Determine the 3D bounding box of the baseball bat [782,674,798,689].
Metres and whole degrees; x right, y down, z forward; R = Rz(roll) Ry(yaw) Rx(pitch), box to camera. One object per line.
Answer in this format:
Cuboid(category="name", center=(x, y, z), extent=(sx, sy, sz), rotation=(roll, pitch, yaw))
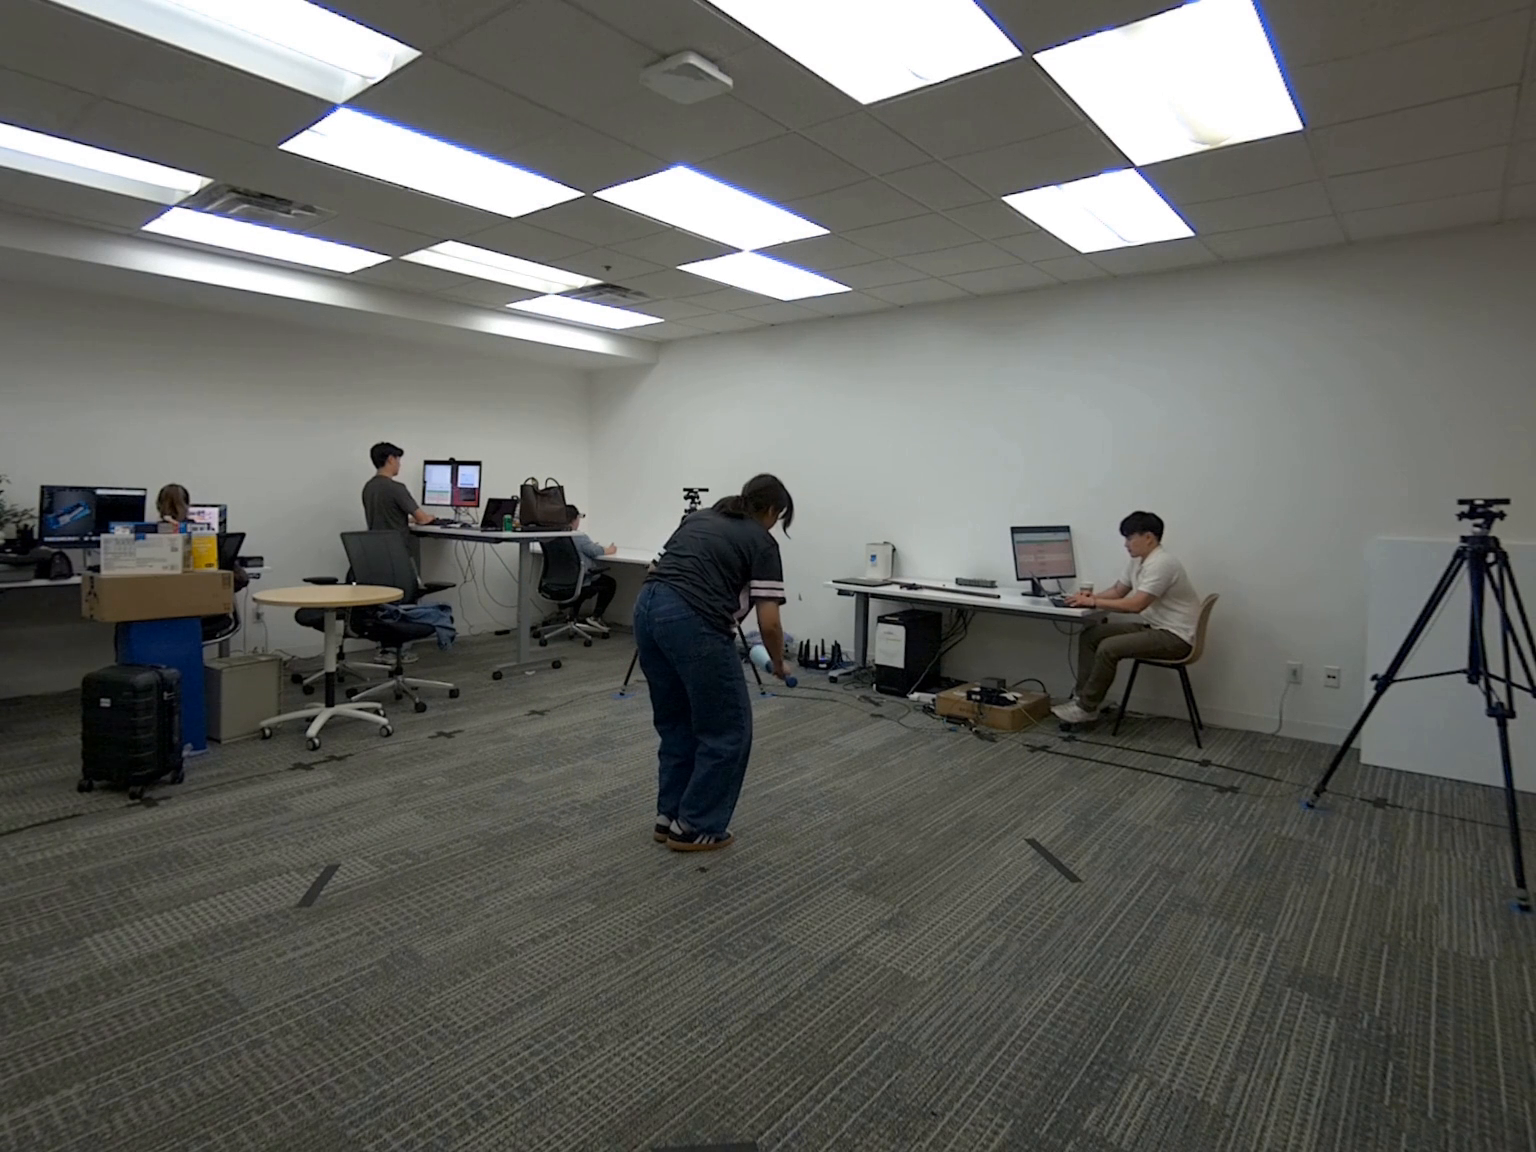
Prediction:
Cuboid(category="baseball bat", center=(-0.001, 0.393, 3.642), extent=(0.088, 0.088, 0.552), rotation=(0, 8, -12))
